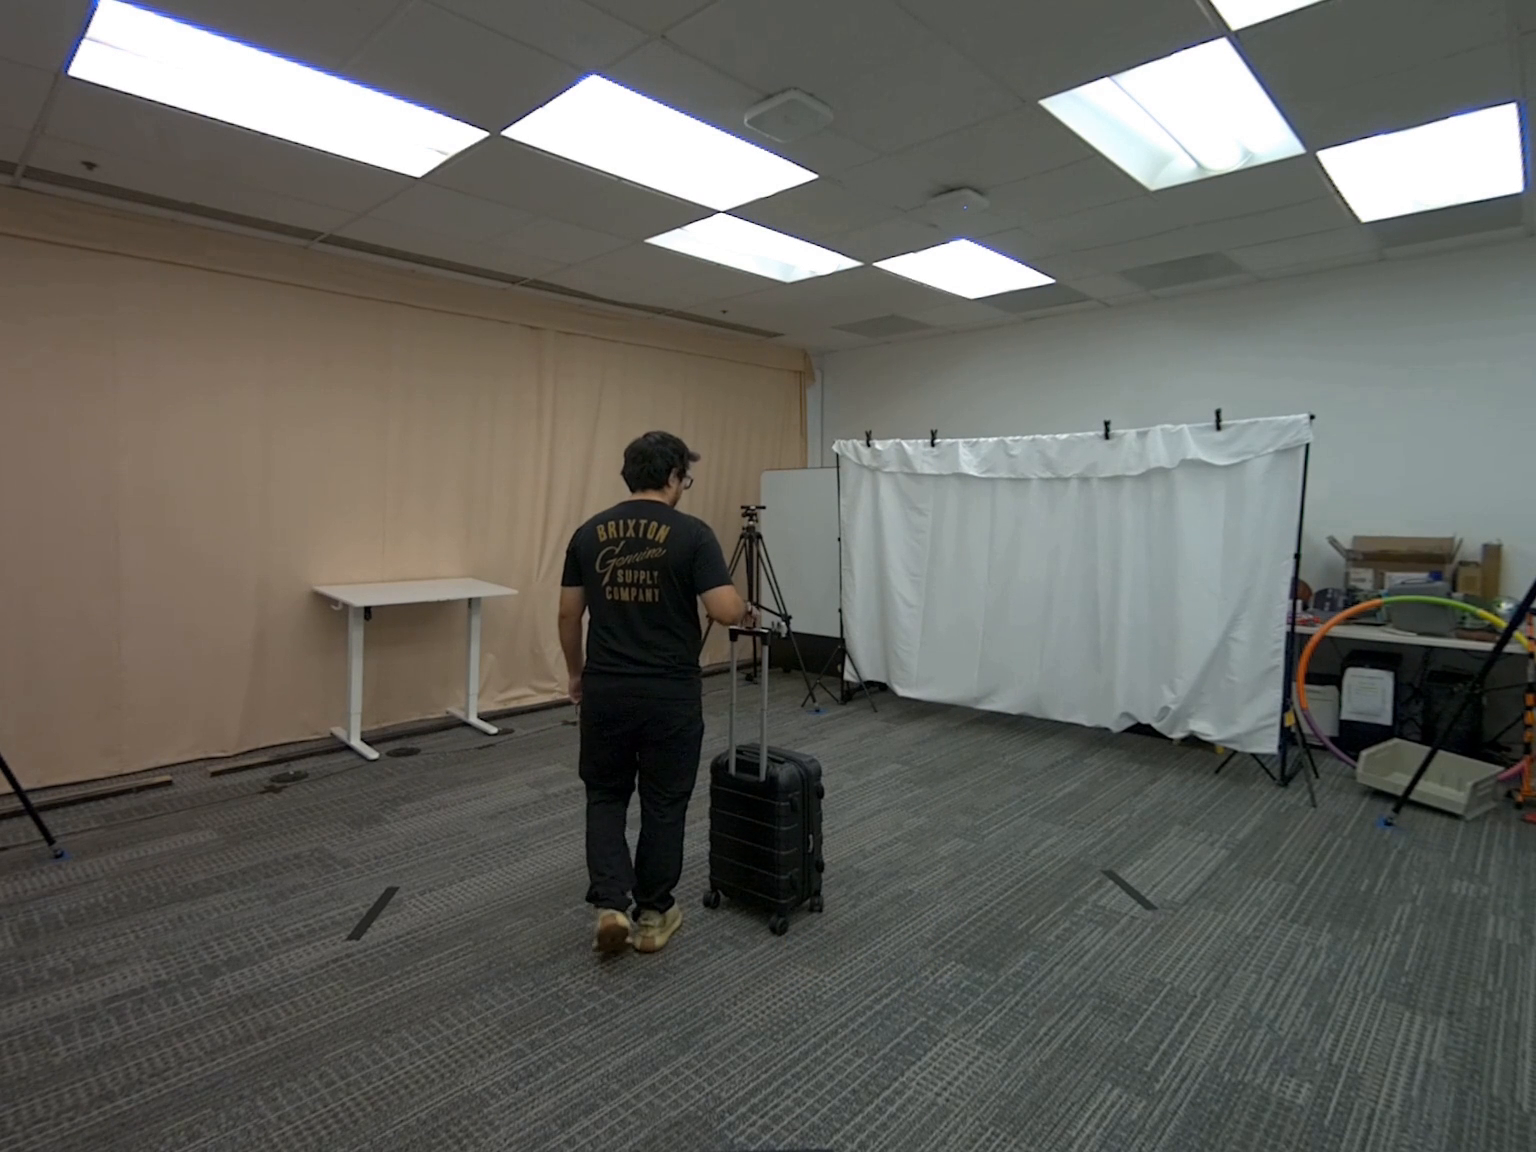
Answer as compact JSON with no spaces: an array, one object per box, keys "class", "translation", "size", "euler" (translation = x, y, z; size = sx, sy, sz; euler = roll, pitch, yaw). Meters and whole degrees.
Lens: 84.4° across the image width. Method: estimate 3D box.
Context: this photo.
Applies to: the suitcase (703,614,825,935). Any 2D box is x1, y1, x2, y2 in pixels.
[{"class":"suitcase","translation":[-0.001,0.673,2.913],"size":[0.396,0.978,0.249],"euler":[2,1,39]}]
